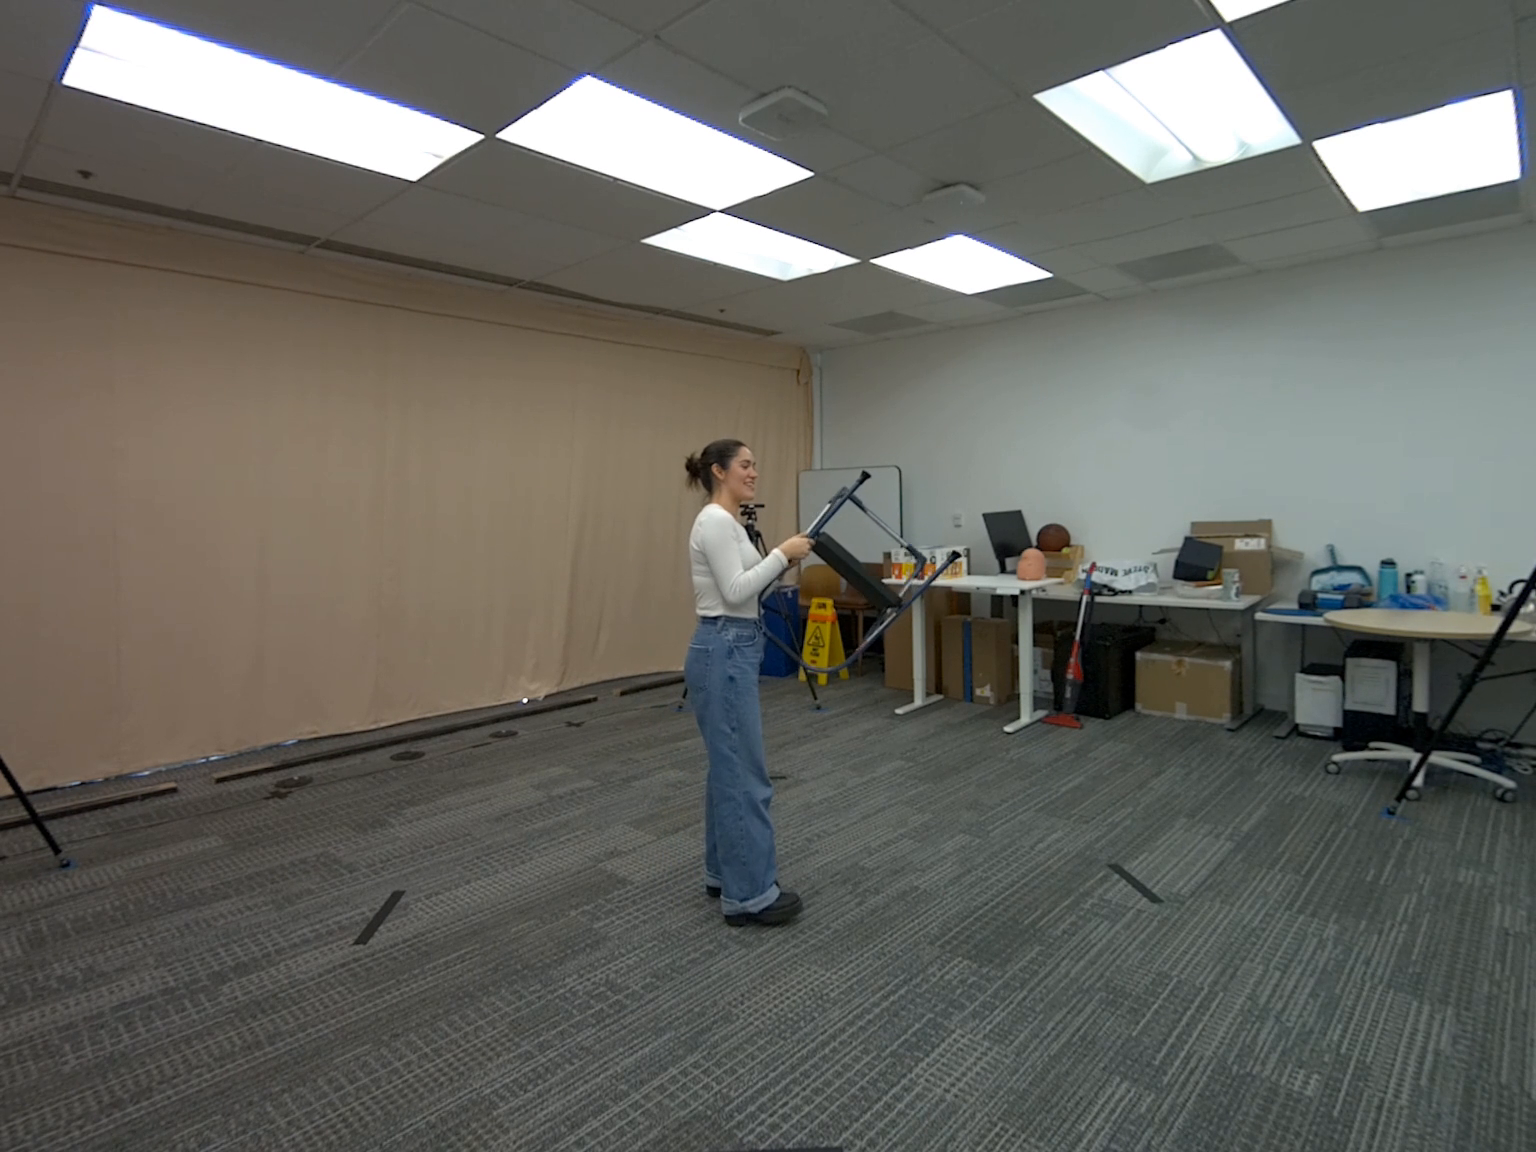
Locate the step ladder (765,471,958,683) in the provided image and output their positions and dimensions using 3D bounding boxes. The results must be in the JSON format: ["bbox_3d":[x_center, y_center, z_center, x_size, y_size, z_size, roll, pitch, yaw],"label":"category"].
[{"bbox_3d":[0.262,0.028,2.881,0.430,0.605,0.350,42,-3,-1],"label":"step ladder"}]
